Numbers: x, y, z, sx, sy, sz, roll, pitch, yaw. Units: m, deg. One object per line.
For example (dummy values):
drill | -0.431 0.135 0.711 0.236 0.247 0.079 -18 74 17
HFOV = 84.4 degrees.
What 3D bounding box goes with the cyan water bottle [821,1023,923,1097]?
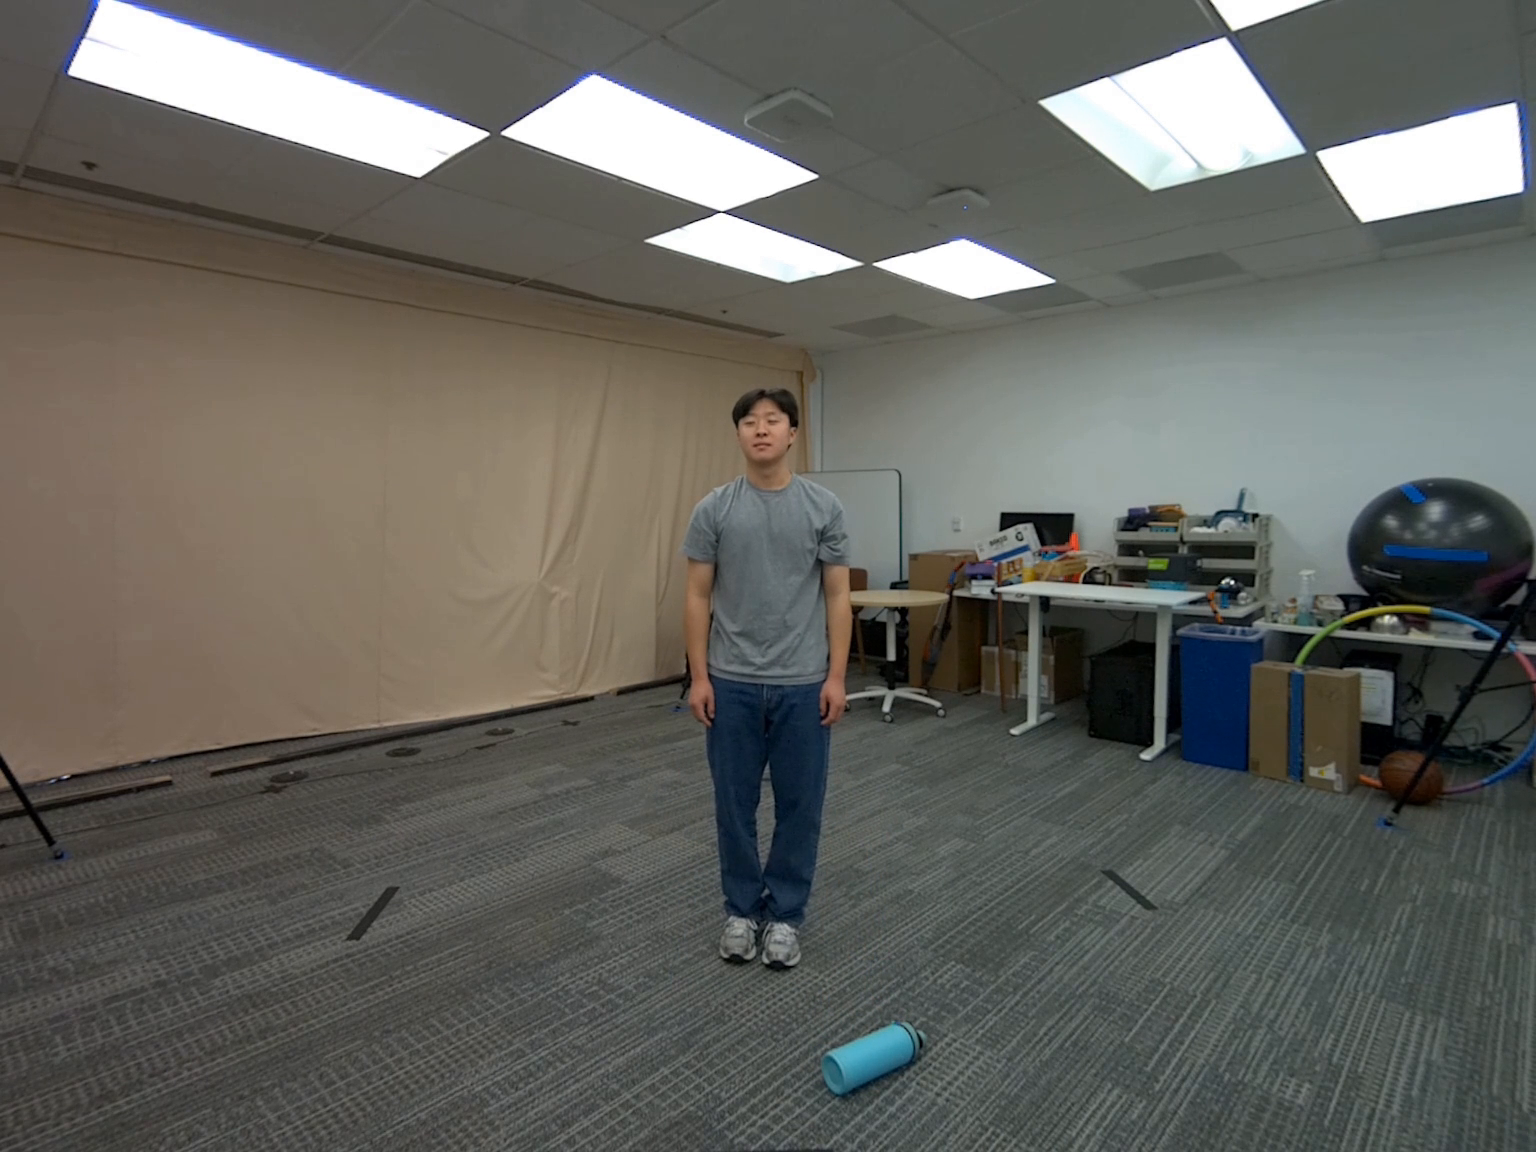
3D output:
cyan water bottle | 0.275 1.175 2.064 0.275 0.092 0.095 -3 5 -34
